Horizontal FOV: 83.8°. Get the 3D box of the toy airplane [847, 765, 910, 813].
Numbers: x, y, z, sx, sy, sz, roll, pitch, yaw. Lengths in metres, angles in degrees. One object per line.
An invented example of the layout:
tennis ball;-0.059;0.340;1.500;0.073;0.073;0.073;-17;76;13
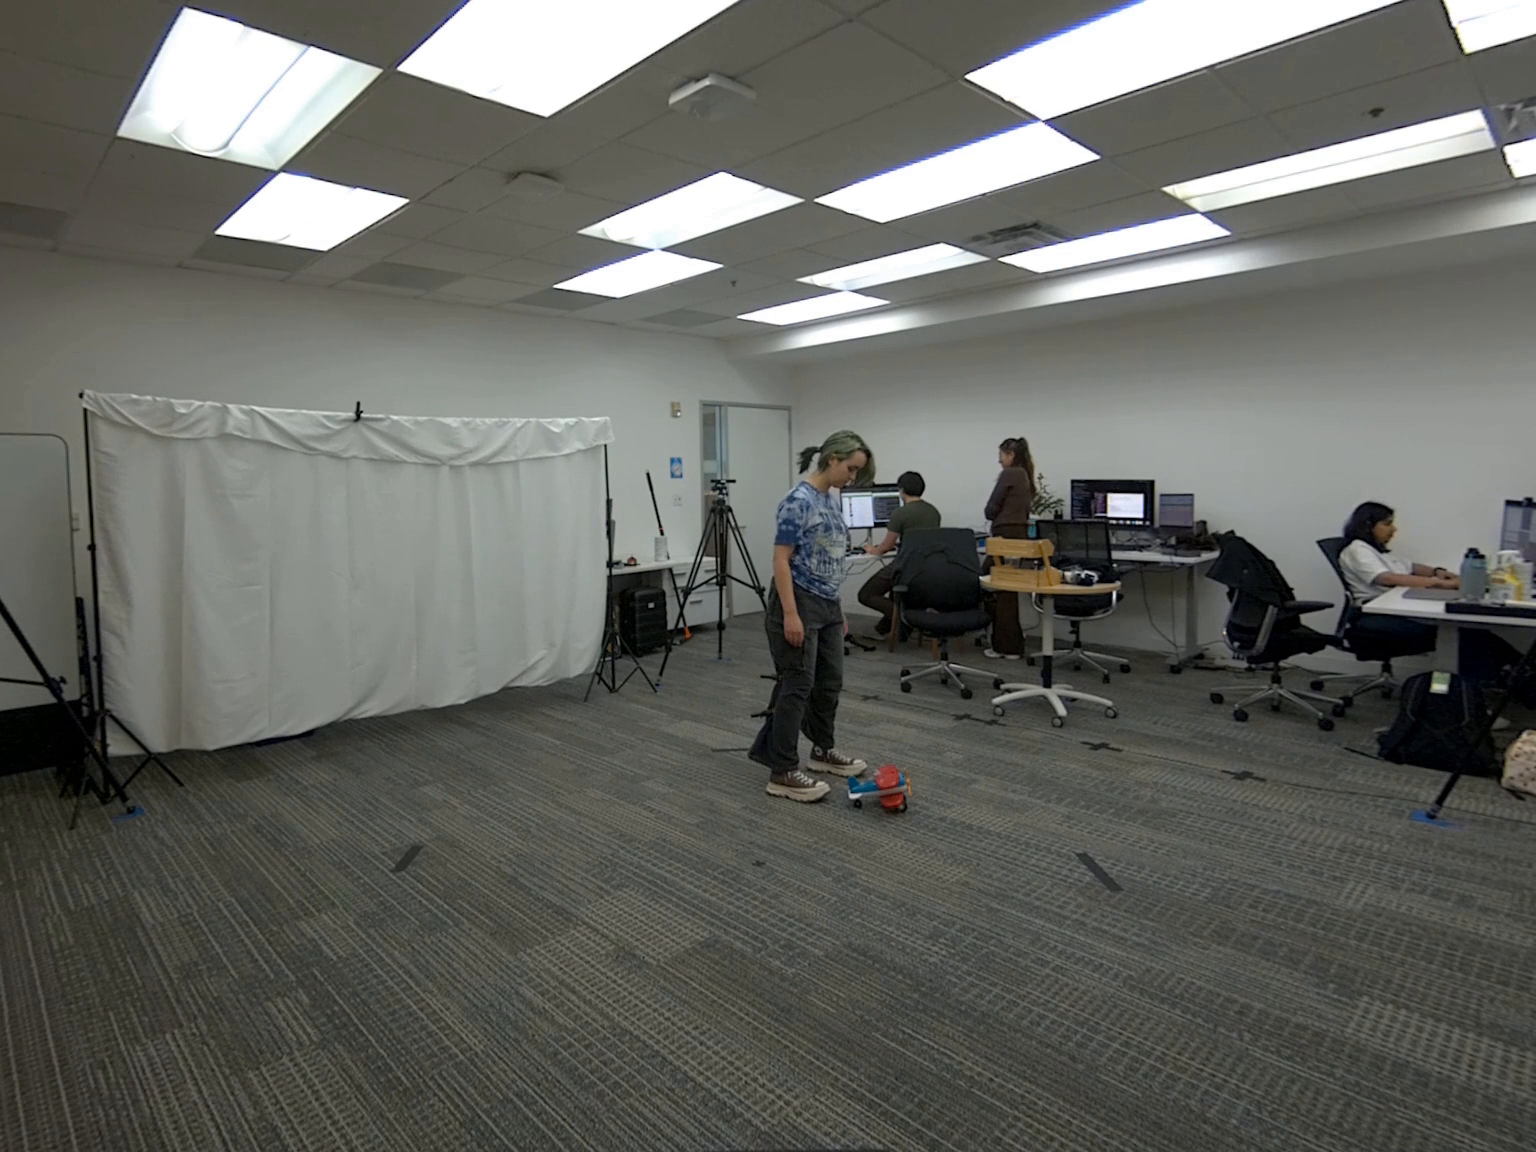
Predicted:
toy airplane;0.477;0.909;3.605;0.254;0.156;0.257;-2;6;-22
